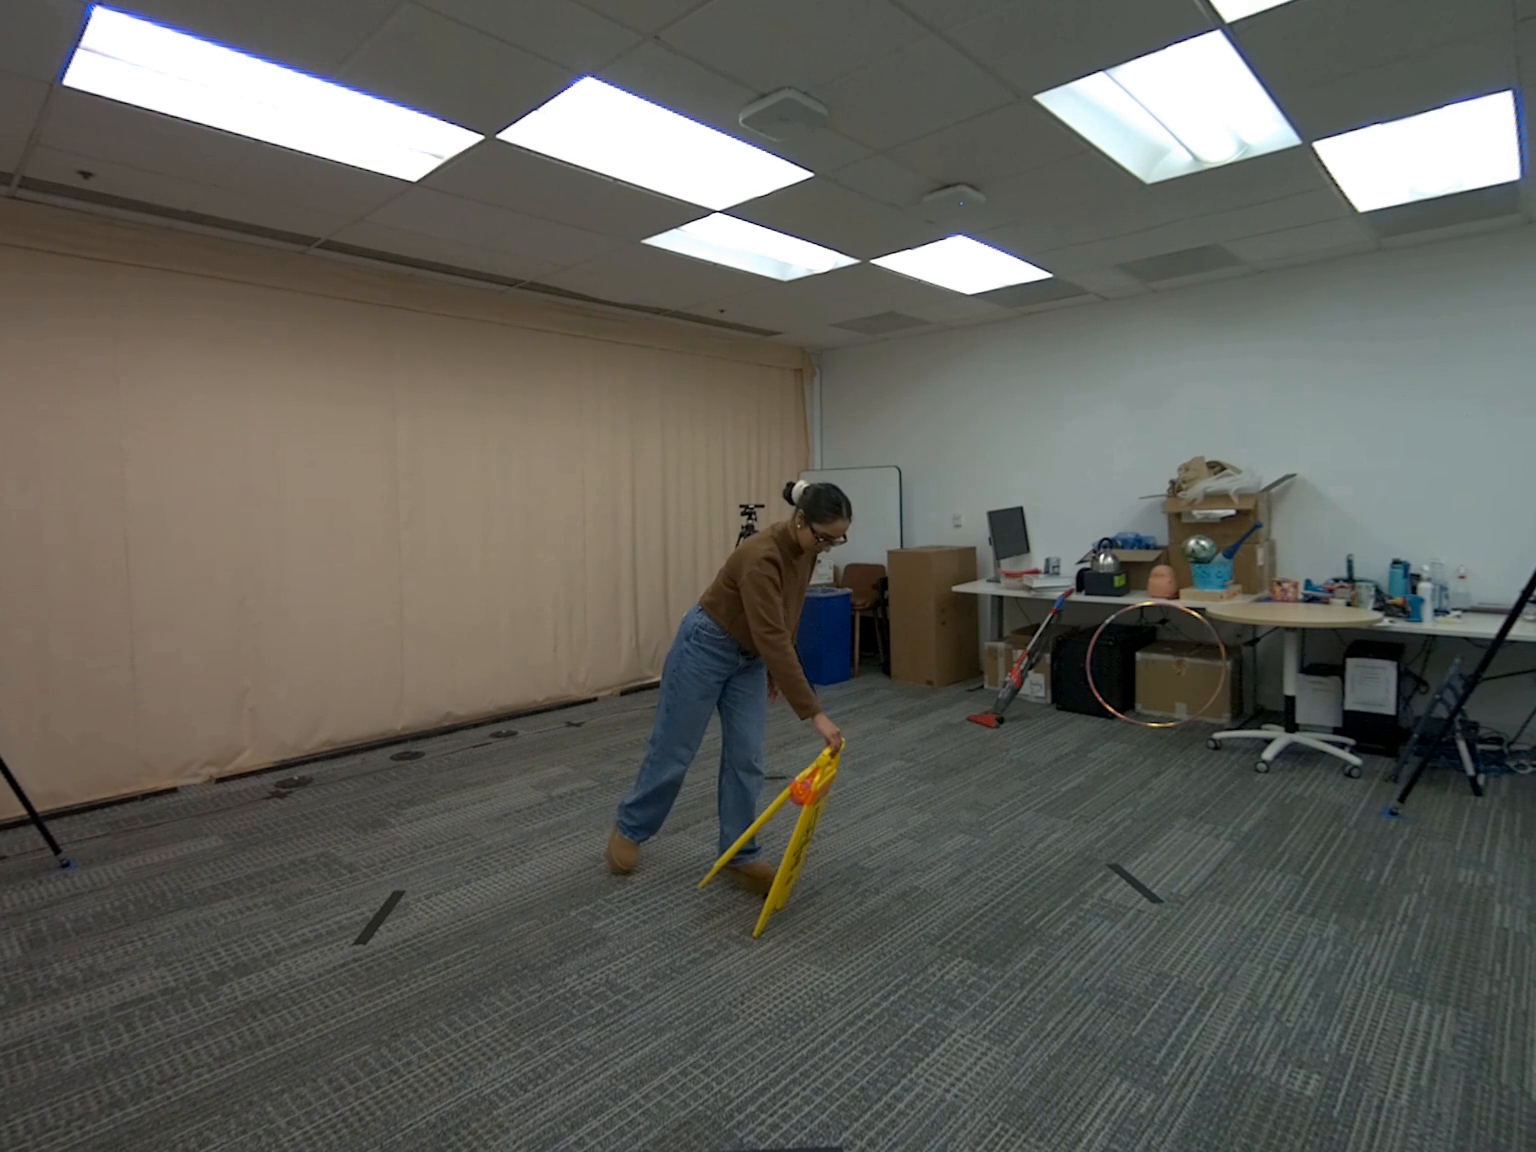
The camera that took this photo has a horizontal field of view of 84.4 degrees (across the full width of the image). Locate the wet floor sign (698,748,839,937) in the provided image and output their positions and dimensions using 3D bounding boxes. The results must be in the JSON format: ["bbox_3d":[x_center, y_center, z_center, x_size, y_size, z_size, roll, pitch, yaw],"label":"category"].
[{"bbox_3d":[0.064,0.817,2.781,0.296,0.646,0.276,33,14,17],"label":"wet floor sign"}]
